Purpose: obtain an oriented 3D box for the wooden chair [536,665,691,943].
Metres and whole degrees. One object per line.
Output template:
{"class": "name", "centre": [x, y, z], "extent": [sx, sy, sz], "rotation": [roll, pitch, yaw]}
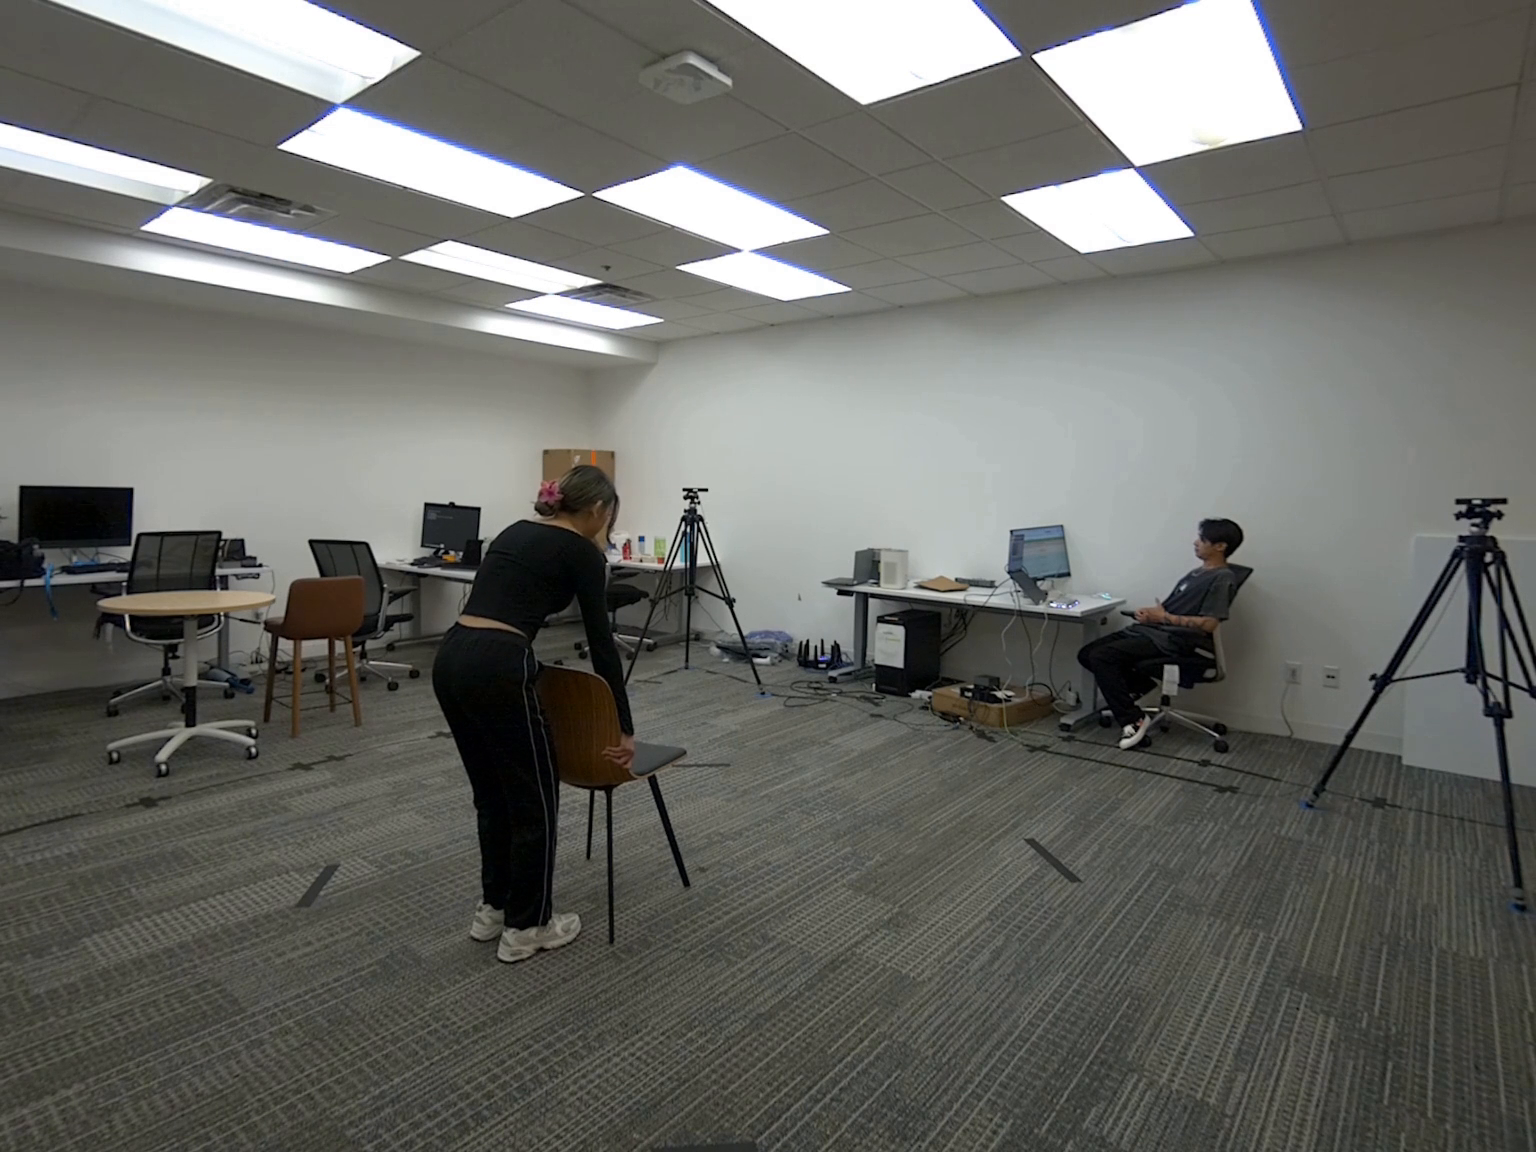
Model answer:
{"class": "wooden chair", "centre": [-0.568, 0.657, 2.868], "extent": [0.491, 0.872, 0.512], "rotation": [2, 8, 28]}
